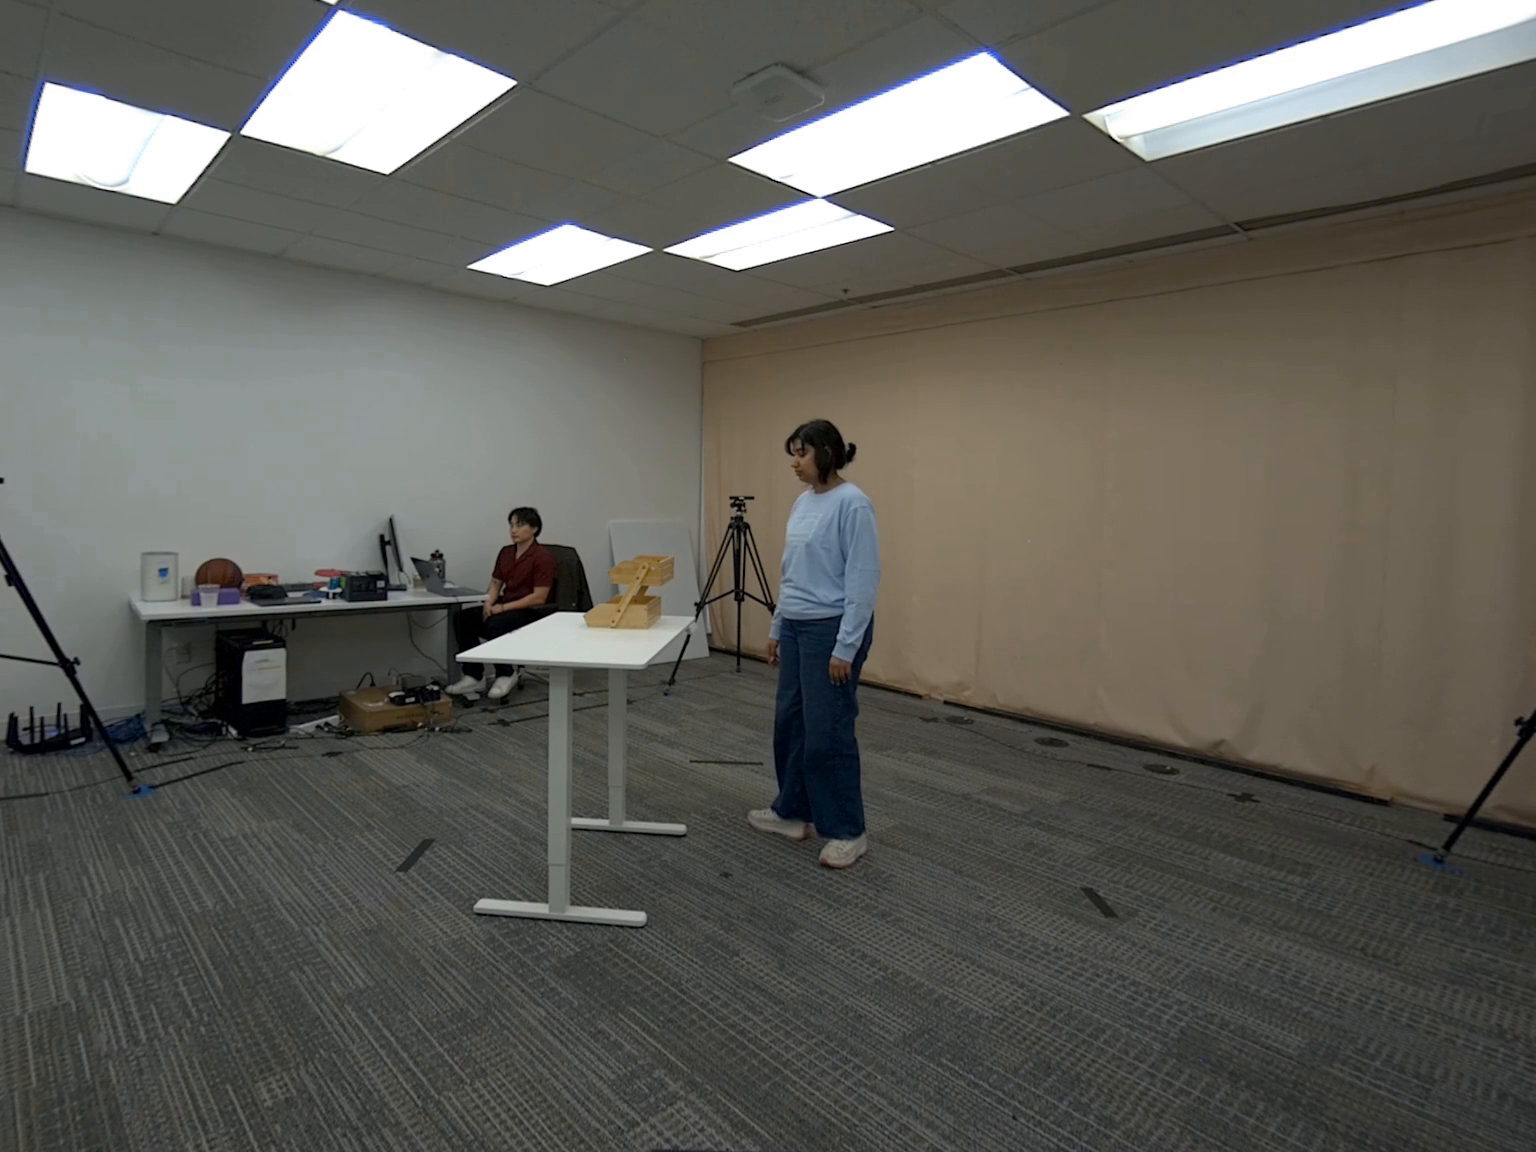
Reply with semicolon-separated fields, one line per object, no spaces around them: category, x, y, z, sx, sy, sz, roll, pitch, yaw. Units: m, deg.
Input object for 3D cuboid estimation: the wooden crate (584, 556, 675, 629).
wooden crate;-0.553;0.054;3.356;0.303;0.272;0.324;2;5;4
